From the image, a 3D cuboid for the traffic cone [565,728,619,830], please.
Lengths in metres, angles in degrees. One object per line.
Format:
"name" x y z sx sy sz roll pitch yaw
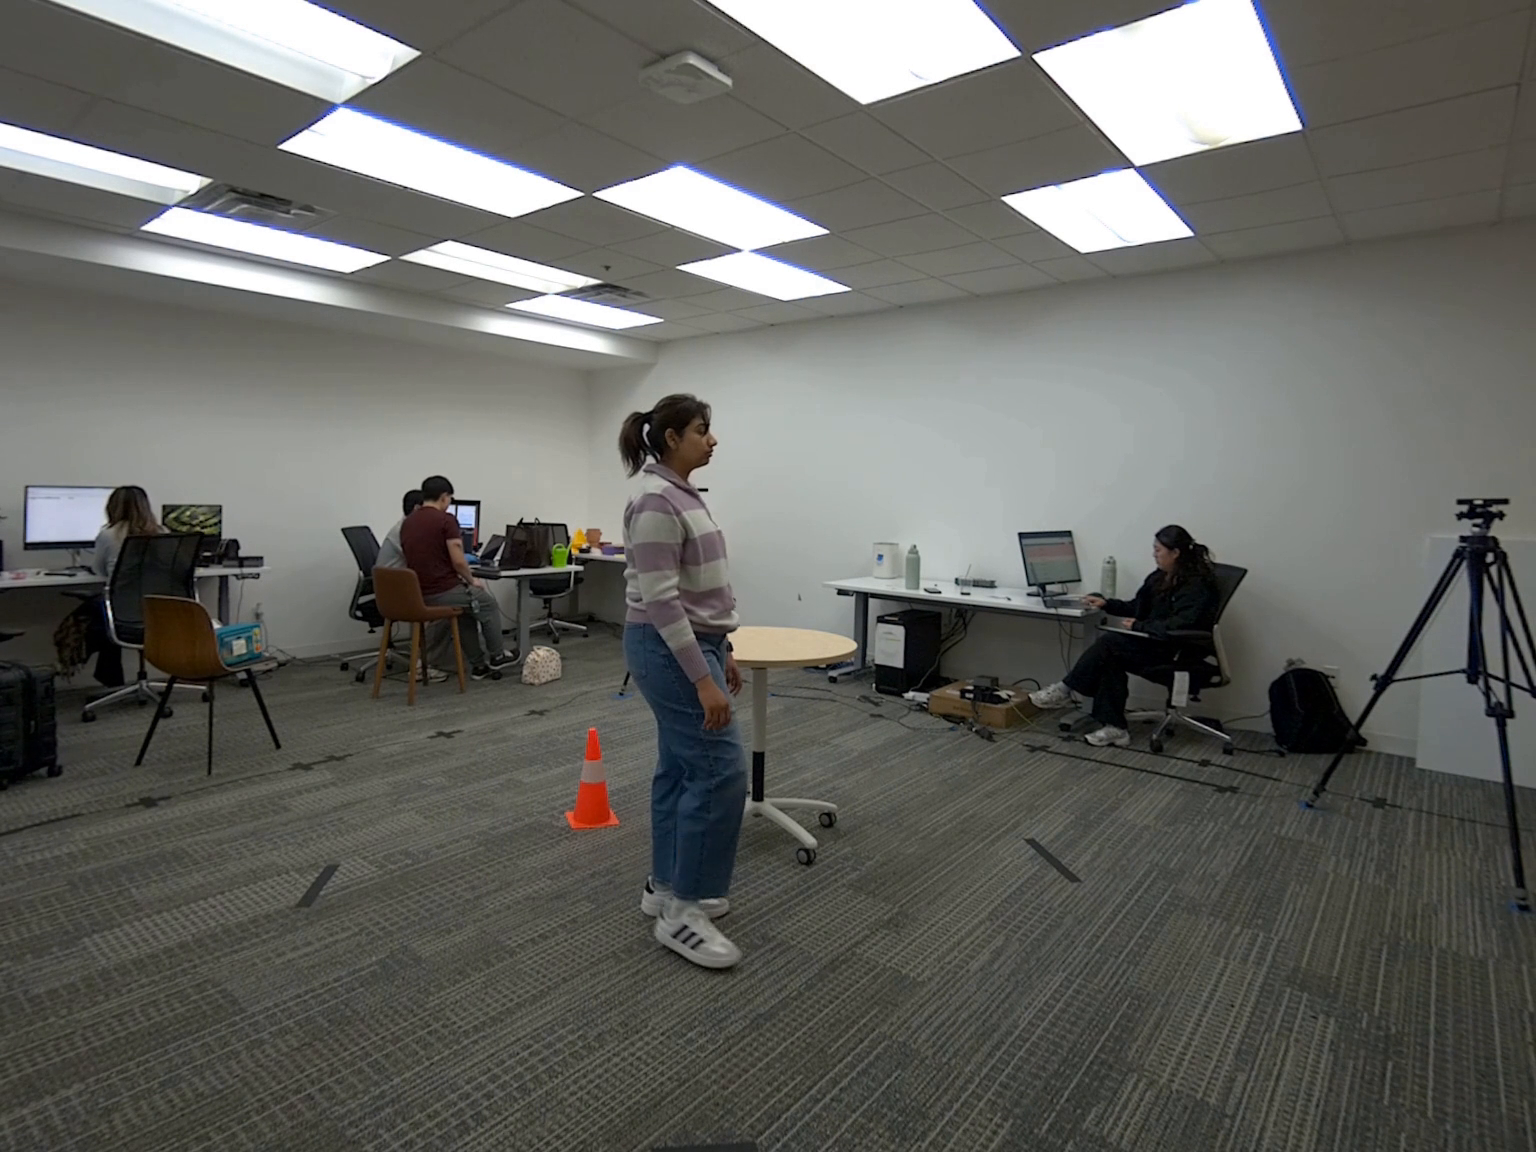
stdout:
"traffic cone" -0.749 0.833 3.564 0.199 0.383 0.210 1 3 -21
